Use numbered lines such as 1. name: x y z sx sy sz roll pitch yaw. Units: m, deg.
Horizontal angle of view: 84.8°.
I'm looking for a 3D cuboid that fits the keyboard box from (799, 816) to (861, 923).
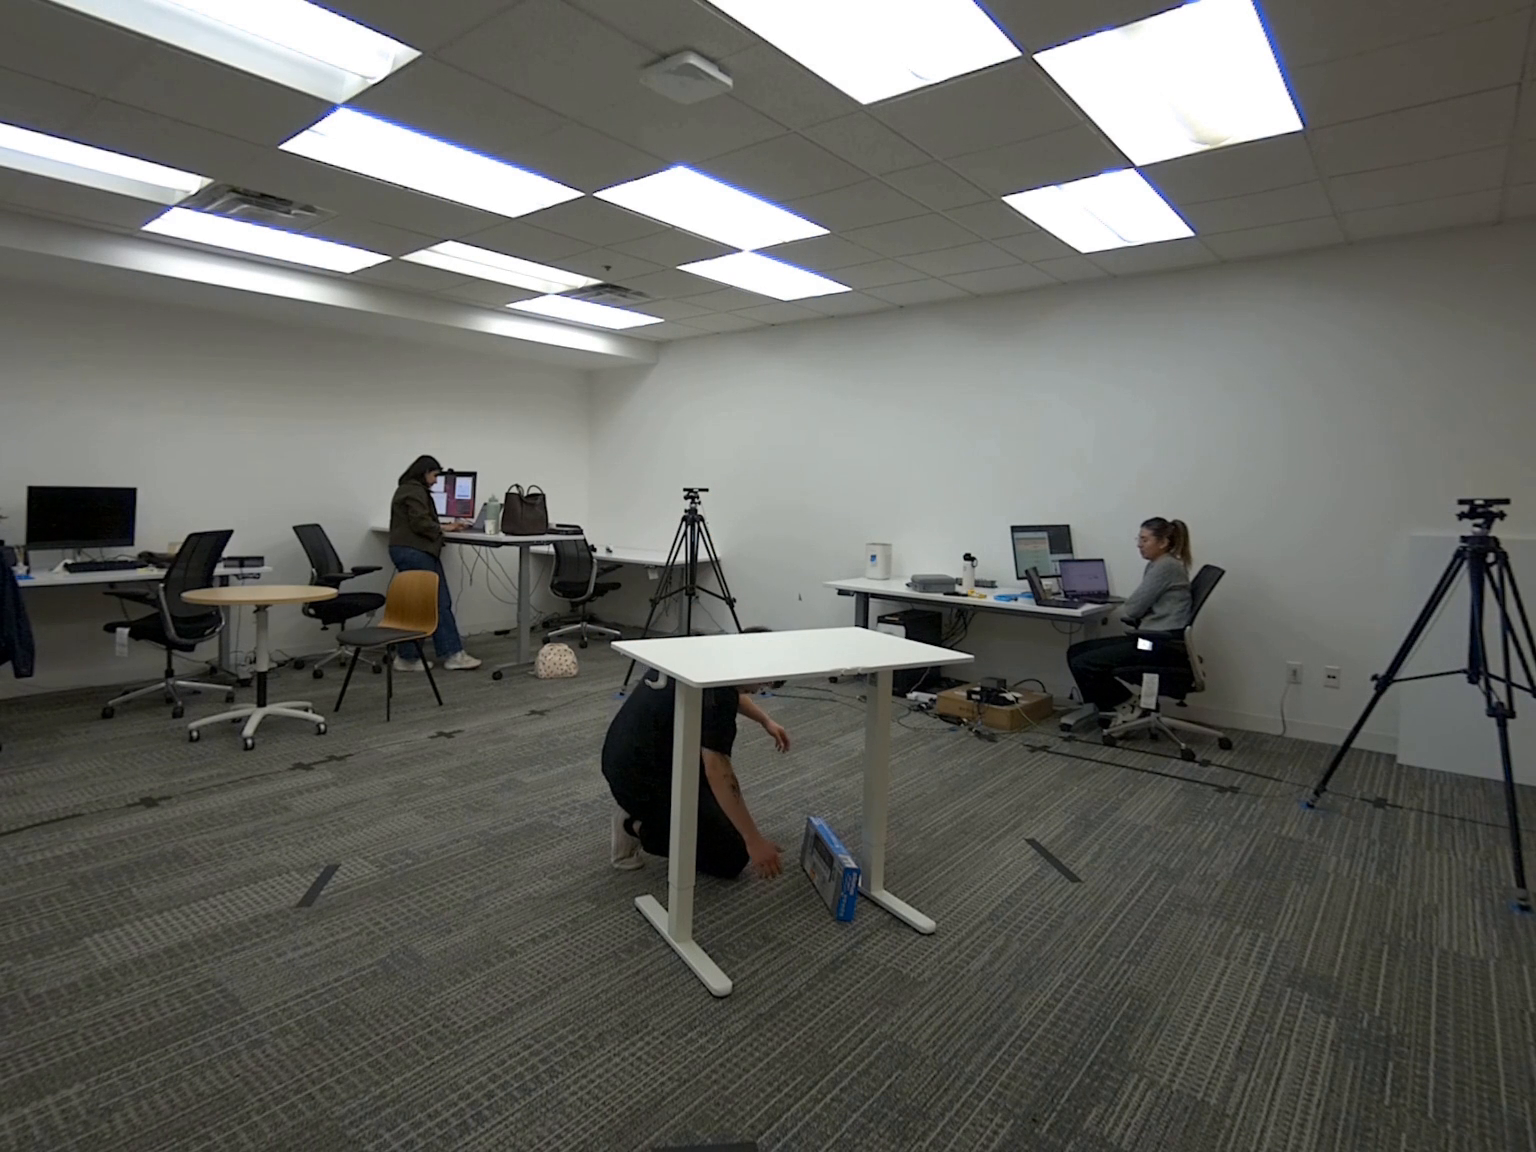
1. keyboard box: 0.205 1.006 2.962 0.058 0.176 0.443 10 3 -13
